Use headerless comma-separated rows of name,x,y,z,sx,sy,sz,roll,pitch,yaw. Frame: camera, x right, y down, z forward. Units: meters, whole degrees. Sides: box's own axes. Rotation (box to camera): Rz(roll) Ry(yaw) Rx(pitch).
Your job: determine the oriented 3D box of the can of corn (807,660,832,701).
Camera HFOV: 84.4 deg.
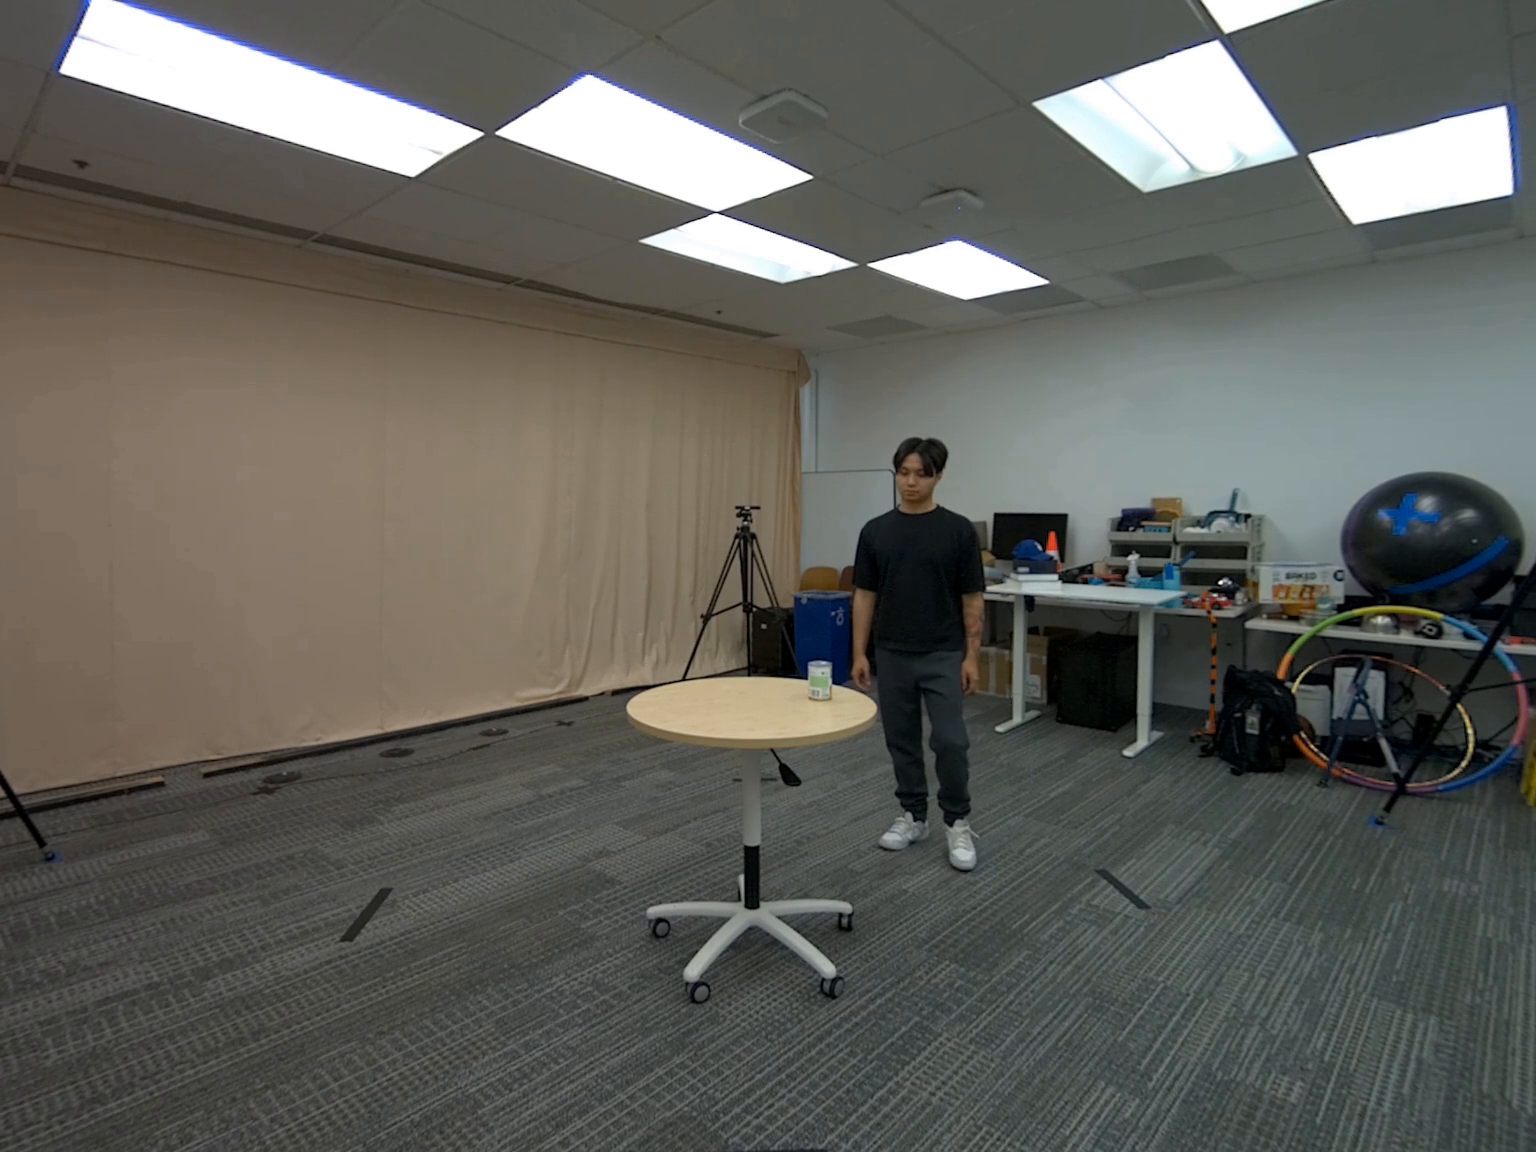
can of corn,0.170,0.333,2.647,0.074,0.111,0.074,-1,4,-2
